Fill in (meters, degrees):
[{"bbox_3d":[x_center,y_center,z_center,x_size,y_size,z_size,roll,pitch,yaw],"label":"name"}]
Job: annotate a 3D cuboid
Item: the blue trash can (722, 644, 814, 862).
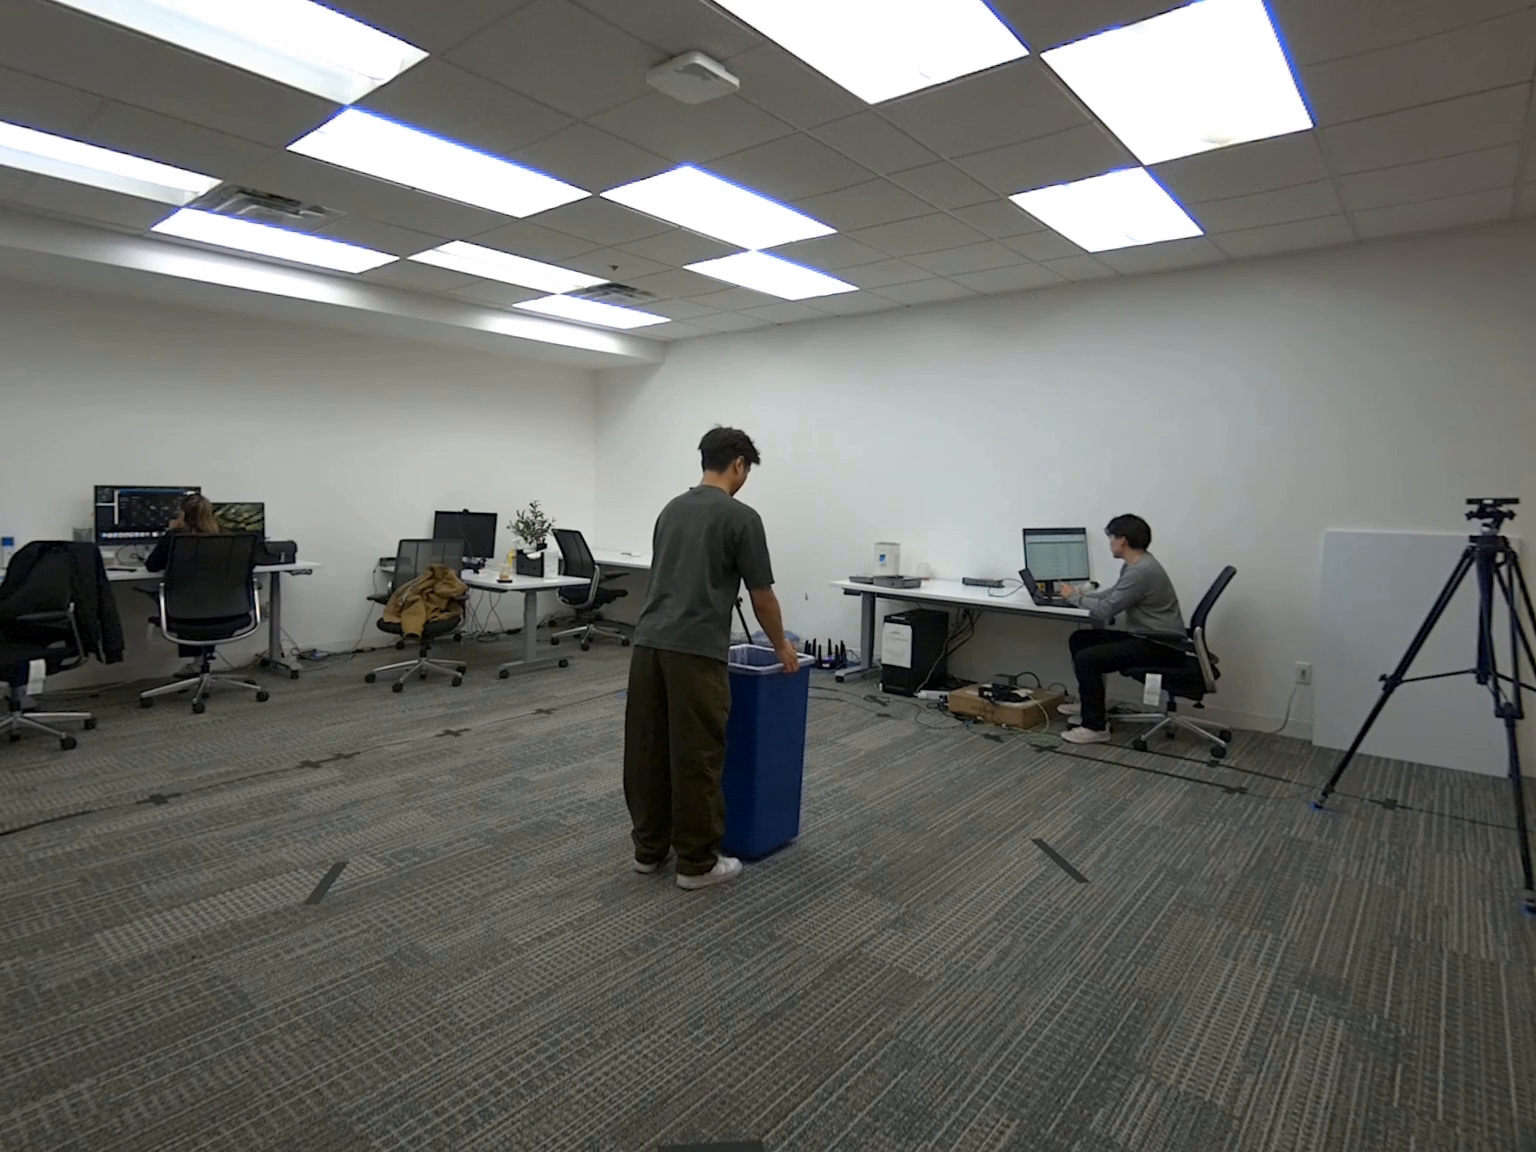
[{"bbox_3d":[-0.081,0.663,3.332,0.391,0.711,0.363,5,5,37],"label":"blue trash can"}]
